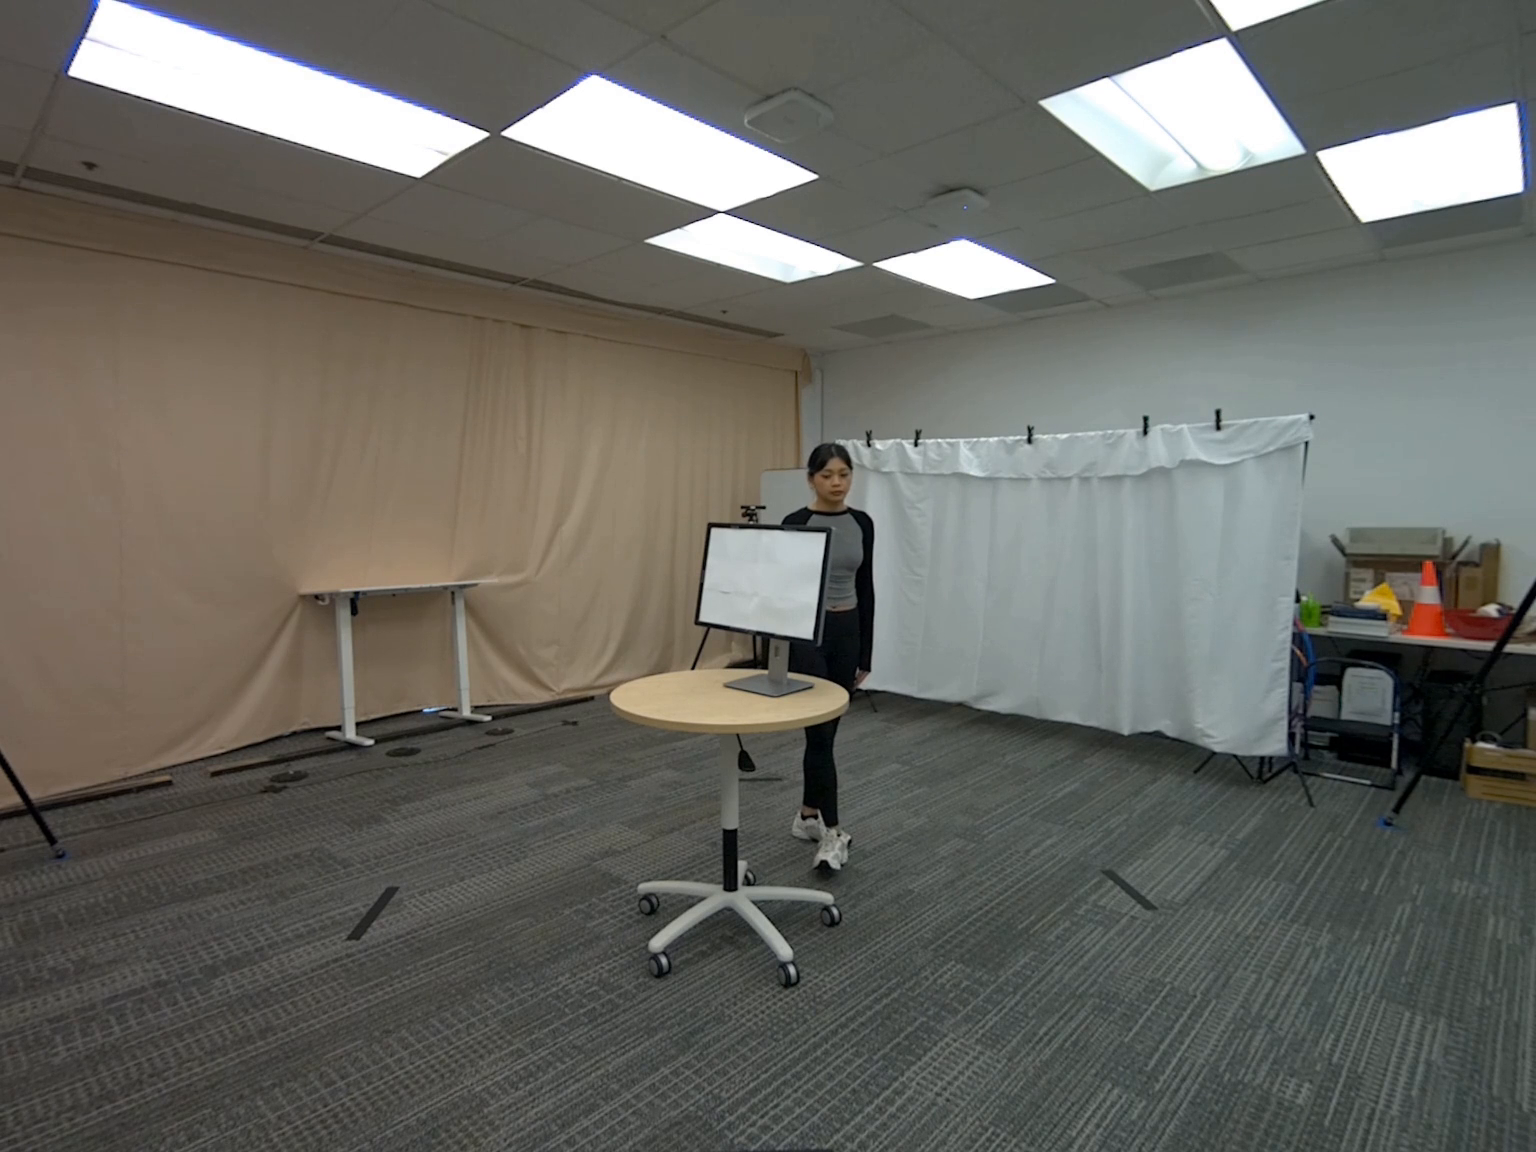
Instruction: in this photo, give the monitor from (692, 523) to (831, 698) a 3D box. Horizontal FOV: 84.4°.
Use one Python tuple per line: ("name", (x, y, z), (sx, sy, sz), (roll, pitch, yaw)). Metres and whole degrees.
("monitor", (0.001, 0.105, 2.782), (0.557, 0.521, 0.181), (4, 6, 43))
